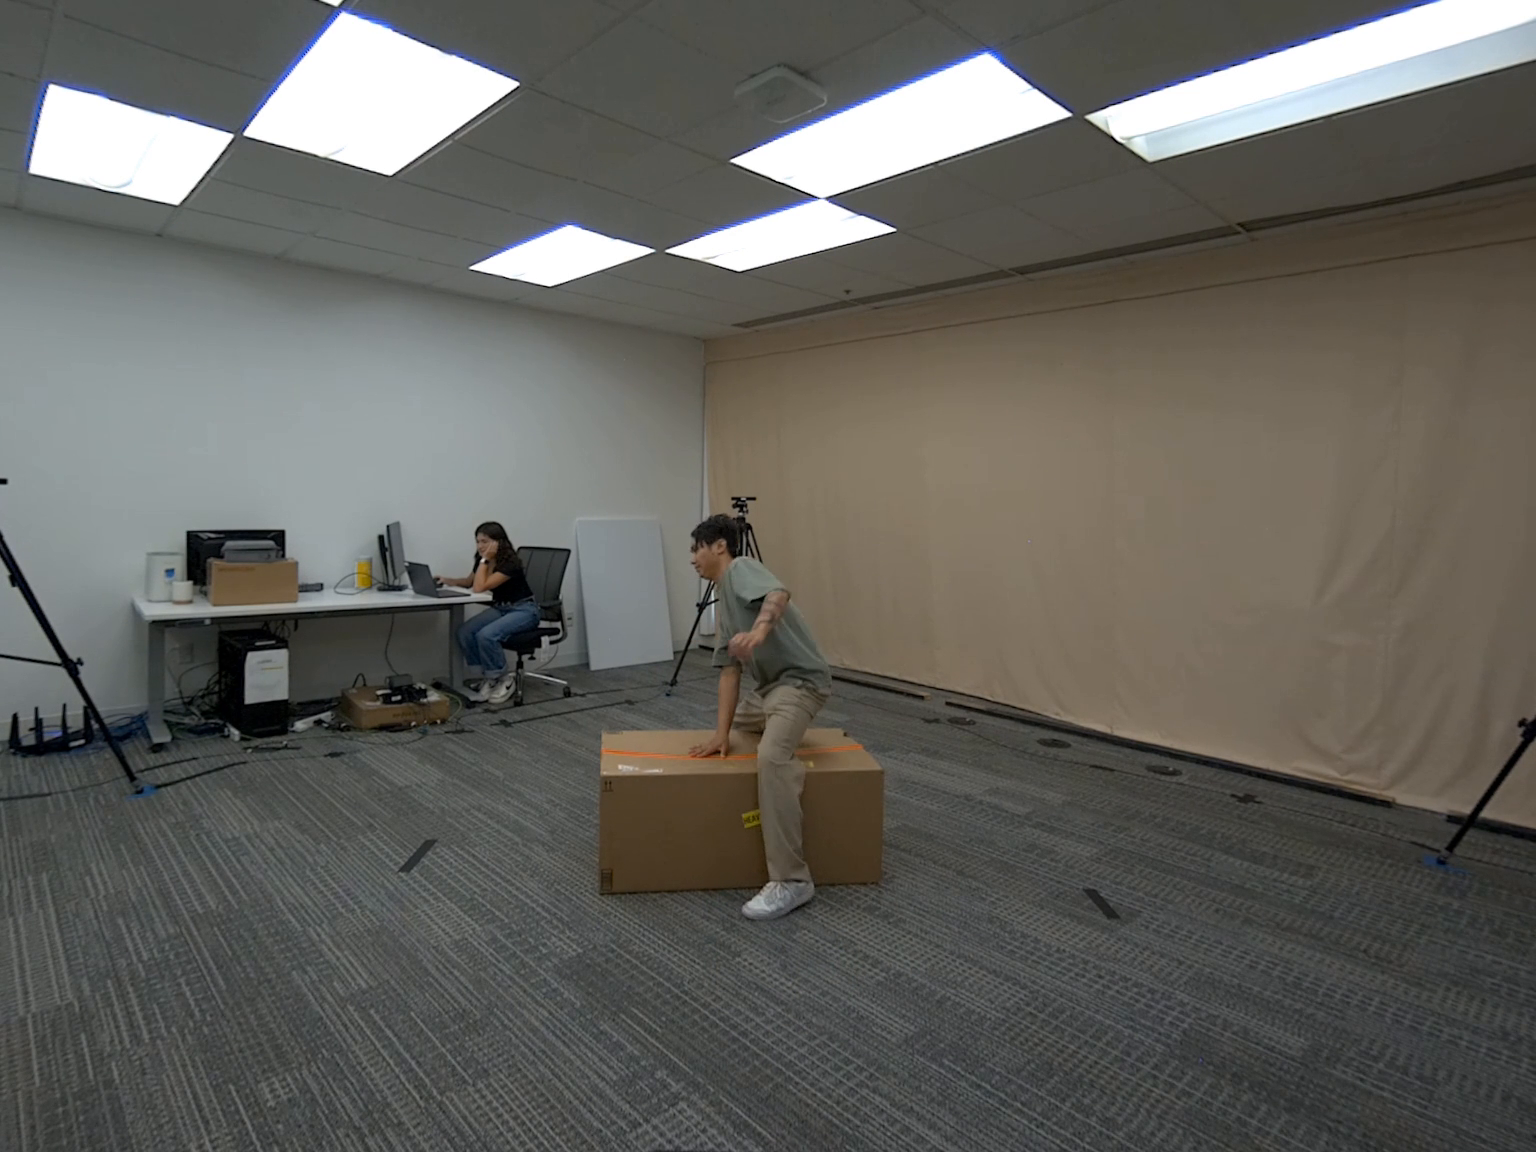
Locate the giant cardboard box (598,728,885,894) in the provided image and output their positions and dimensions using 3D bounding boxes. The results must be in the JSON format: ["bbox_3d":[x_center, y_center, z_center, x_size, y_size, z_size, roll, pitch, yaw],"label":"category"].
[{"bbox_3d":[-0.144,0.882,3.271,1.019,0.425,0.583,1,5,-8],"label":"giant cardboard box"}]
